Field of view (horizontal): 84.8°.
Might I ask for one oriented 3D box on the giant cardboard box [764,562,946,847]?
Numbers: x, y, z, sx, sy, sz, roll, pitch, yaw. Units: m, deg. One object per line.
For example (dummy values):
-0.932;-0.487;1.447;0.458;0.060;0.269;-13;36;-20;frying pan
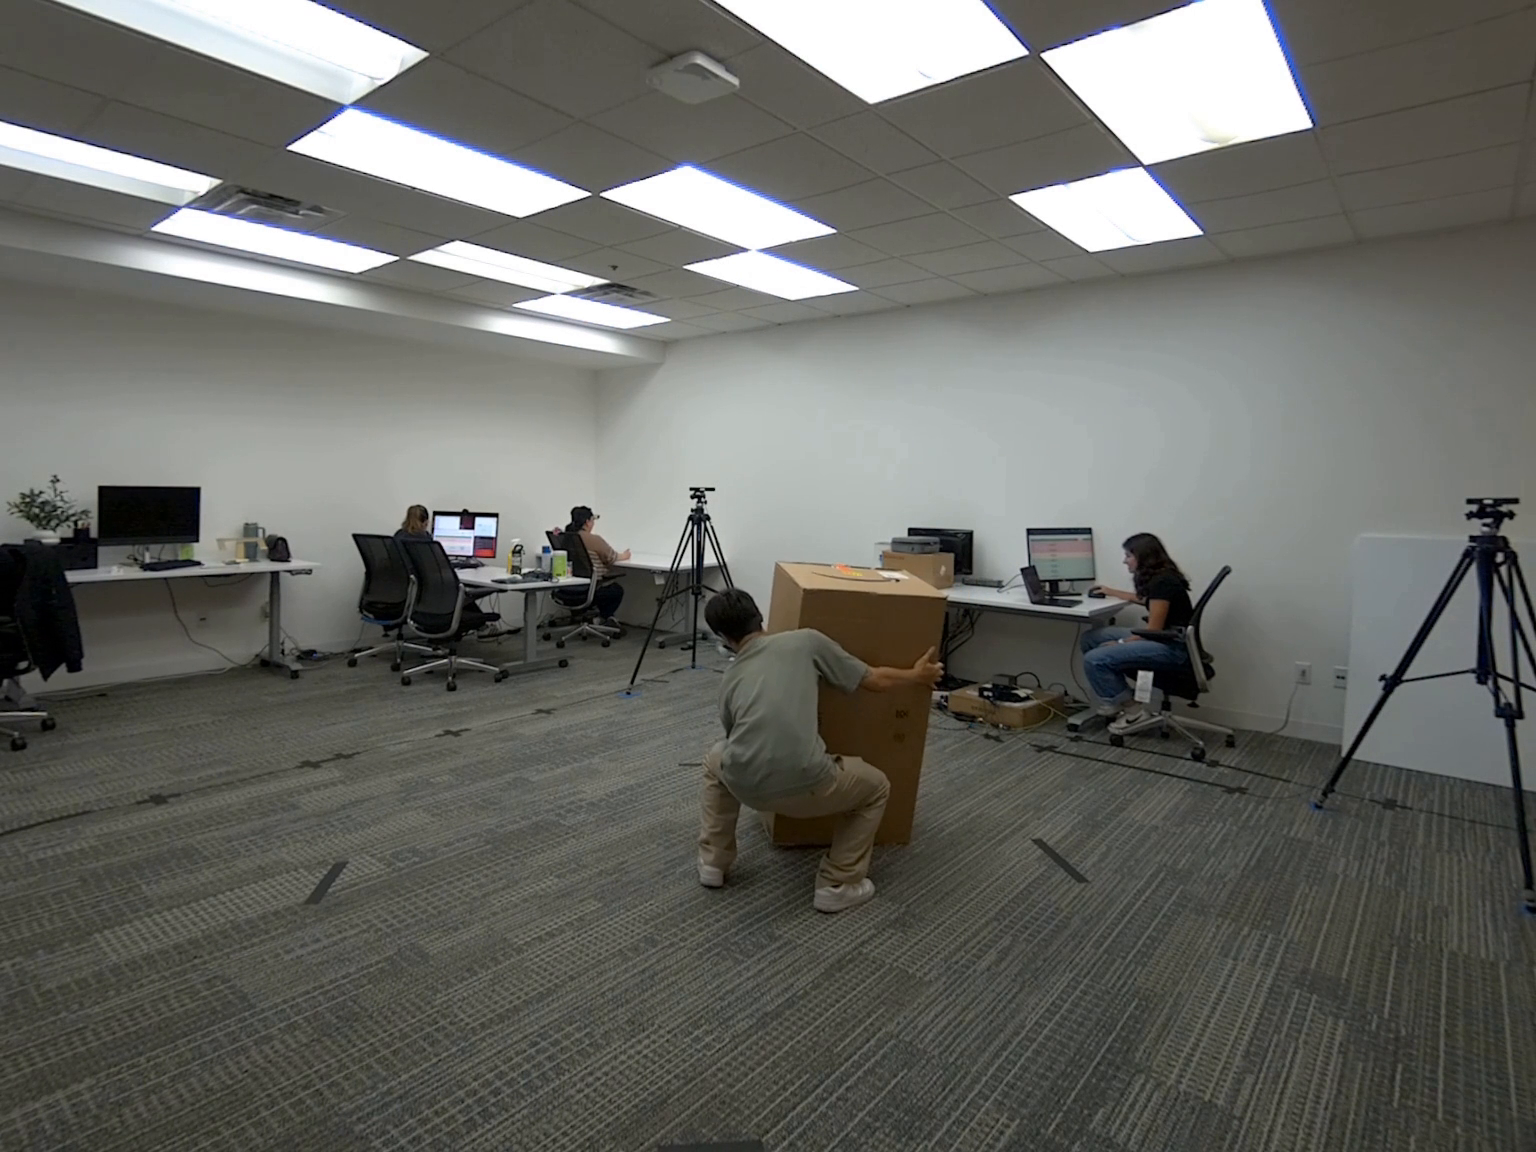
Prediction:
0.290;0.505;3.424;0.571;1.017;0.435;4;11;-10;giant cardboard box
